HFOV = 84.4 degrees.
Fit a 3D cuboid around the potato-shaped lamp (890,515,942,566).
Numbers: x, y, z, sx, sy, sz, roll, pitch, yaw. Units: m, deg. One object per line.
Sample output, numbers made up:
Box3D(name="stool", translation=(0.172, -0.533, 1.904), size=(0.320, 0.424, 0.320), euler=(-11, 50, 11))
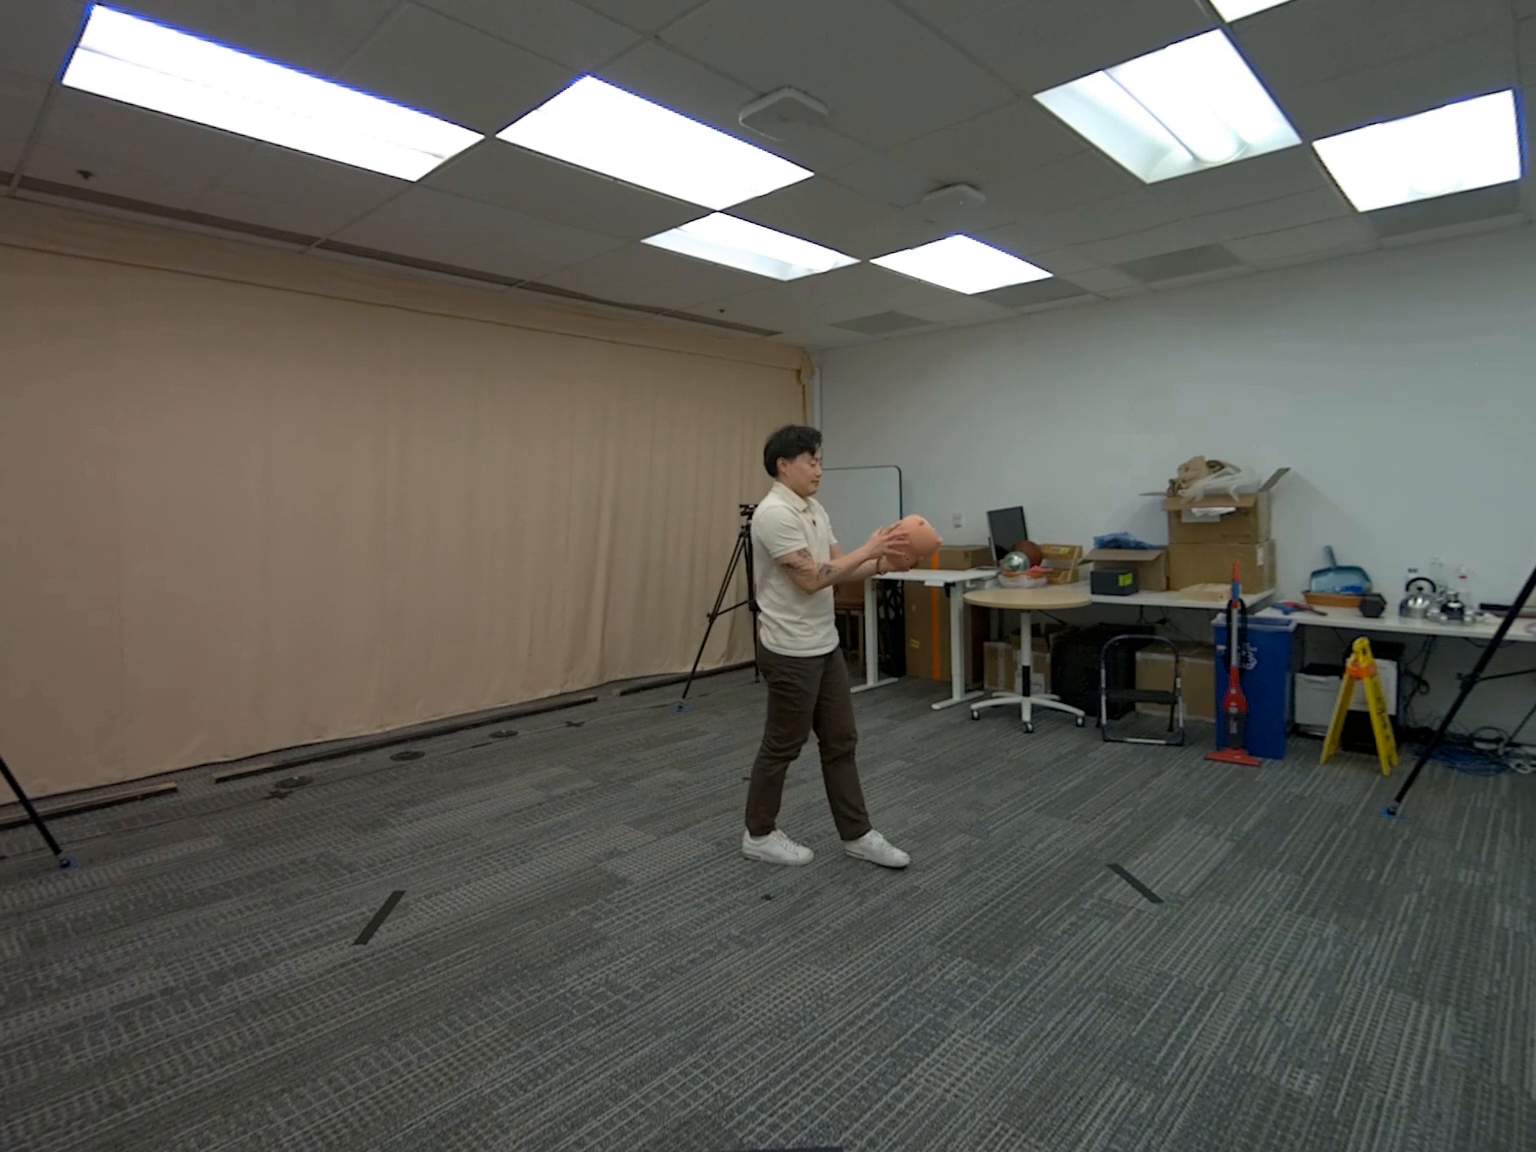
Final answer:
Box3D(name="potato-shaped lamp", translation=(0.522, -0.115, 3.076), size=(0.199, 0.163, 0.173), euler=(-45, 11, 11))
